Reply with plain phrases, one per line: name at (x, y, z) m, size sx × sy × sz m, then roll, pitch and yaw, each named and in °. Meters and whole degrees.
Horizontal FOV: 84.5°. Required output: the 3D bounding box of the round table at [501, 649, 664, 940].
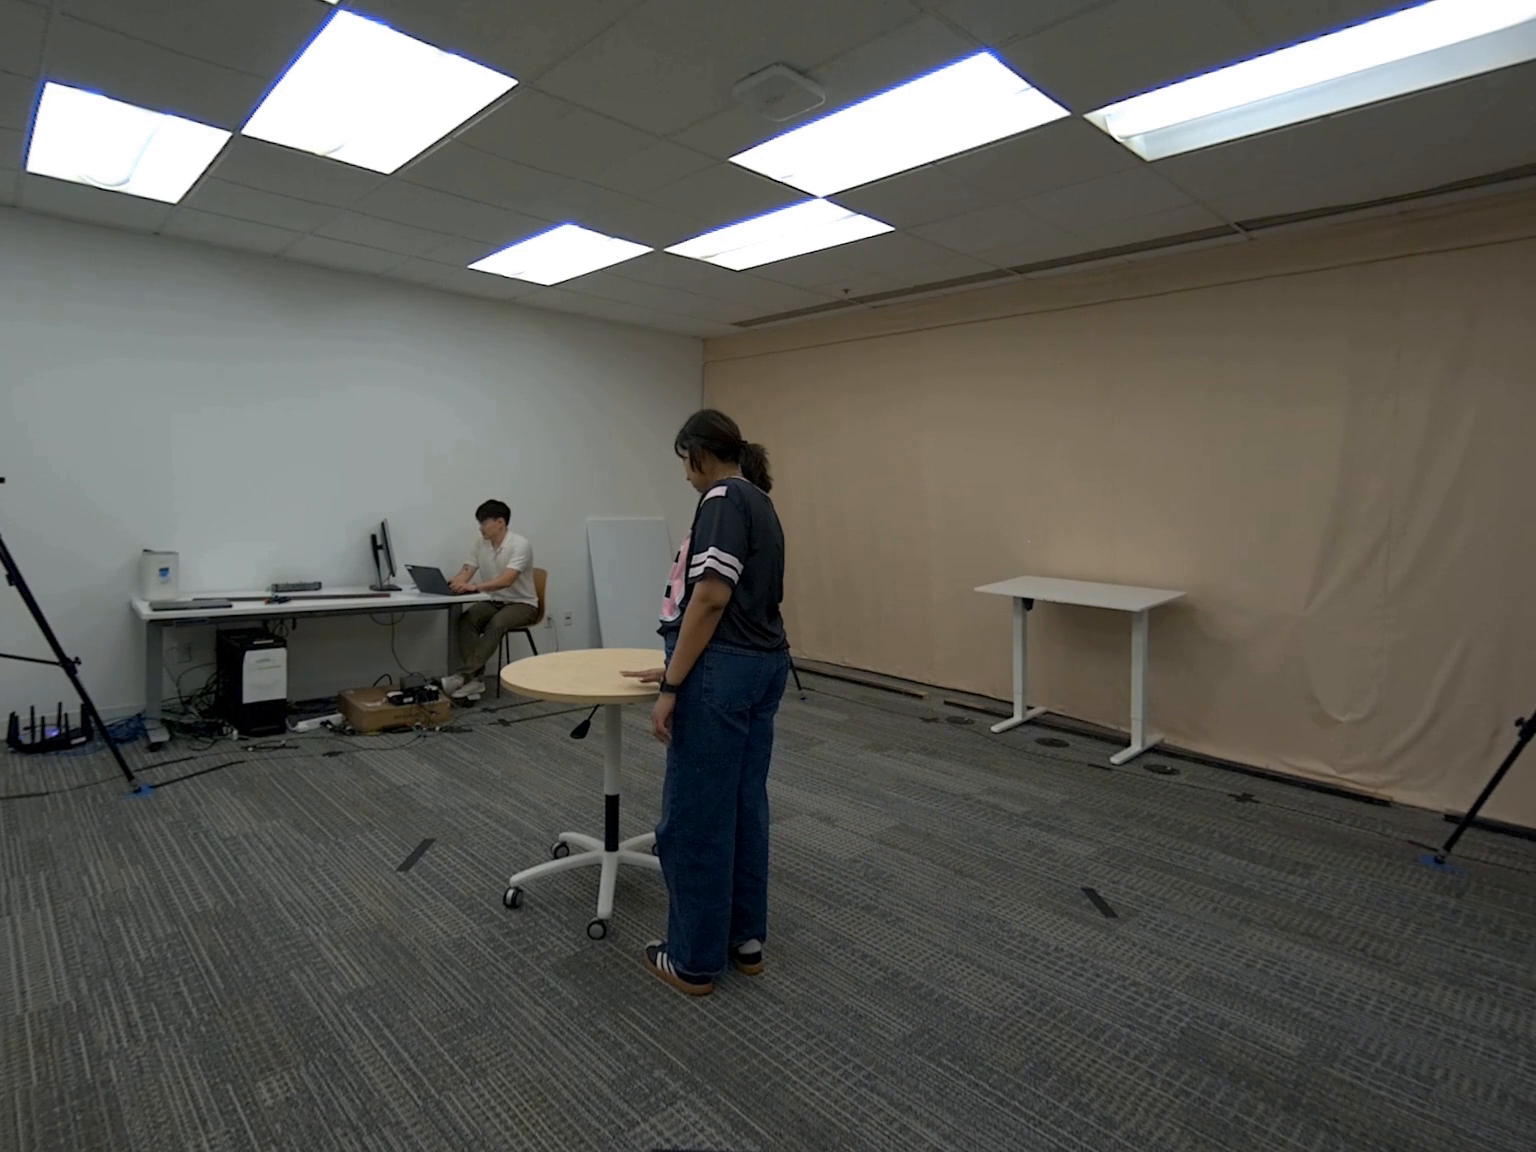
round table at (-0.556, 0.716, 2.946) m, size 0.784 × 0.784 × 0.788 m, roll 1°, pitch 4°, yaw -1°
